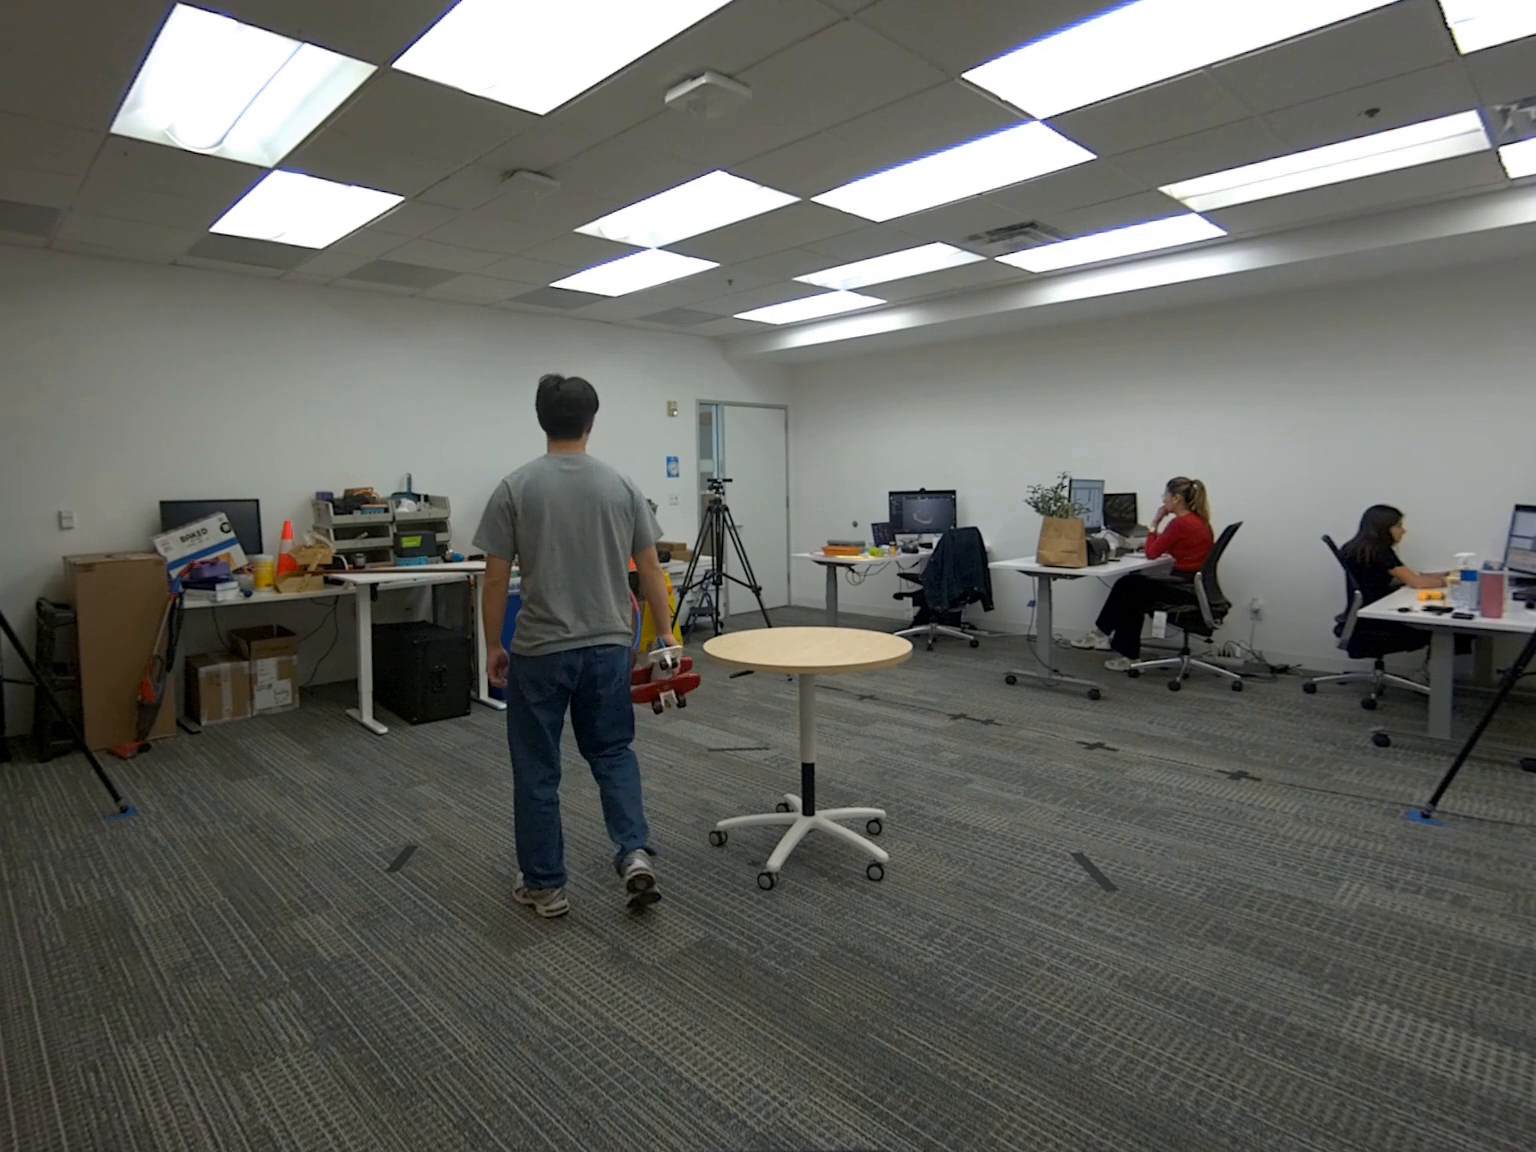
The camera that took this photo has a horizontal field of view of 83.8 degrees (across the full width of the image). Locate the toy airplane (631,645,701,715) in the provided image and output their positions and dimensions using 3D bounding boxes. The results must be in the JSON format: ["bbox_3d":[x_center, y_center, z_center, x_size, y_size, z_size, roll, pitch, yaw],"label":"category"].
[{"bbox_3d":[-0.334,0.342,2.940,0.243,0.258,0.162,16,22,-36],"label":"toy airplane"}]
